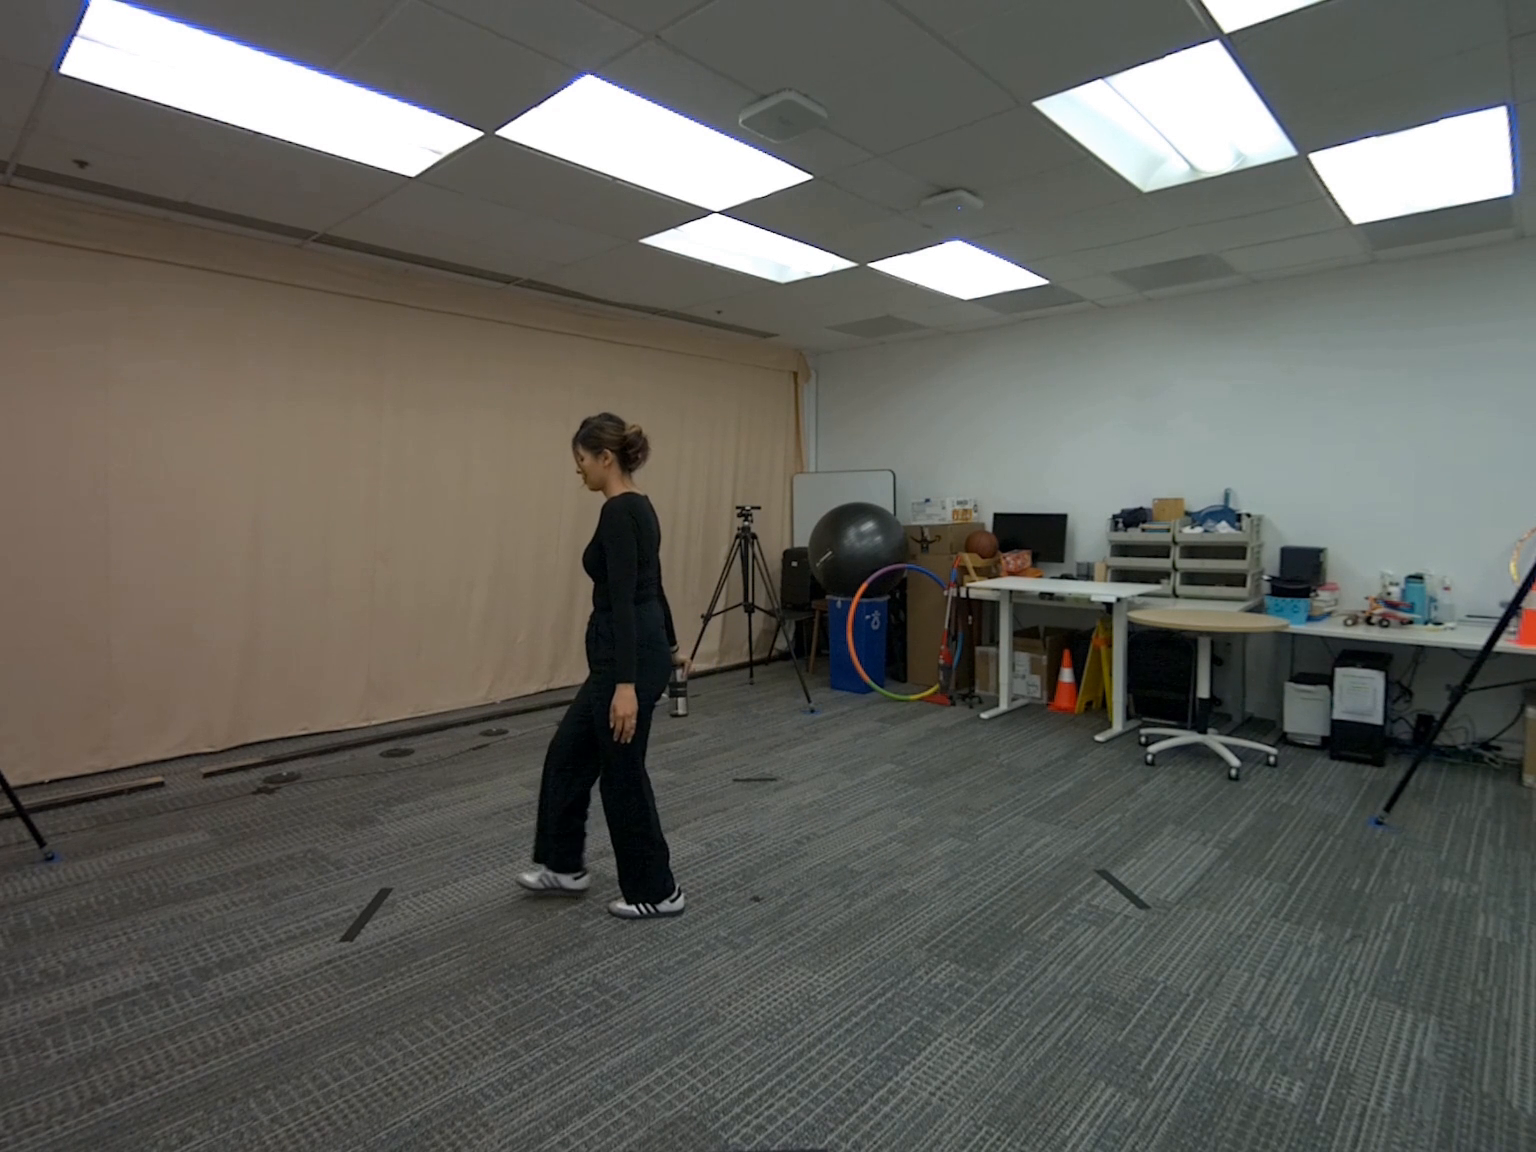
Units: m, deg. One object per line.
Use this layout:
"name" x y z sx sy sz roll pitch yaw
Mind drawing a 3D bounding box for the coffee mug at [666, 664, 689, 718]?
"coffee mug" -0.371 0.442 3.243 0.126 0.203 0.085 -1 1 38
